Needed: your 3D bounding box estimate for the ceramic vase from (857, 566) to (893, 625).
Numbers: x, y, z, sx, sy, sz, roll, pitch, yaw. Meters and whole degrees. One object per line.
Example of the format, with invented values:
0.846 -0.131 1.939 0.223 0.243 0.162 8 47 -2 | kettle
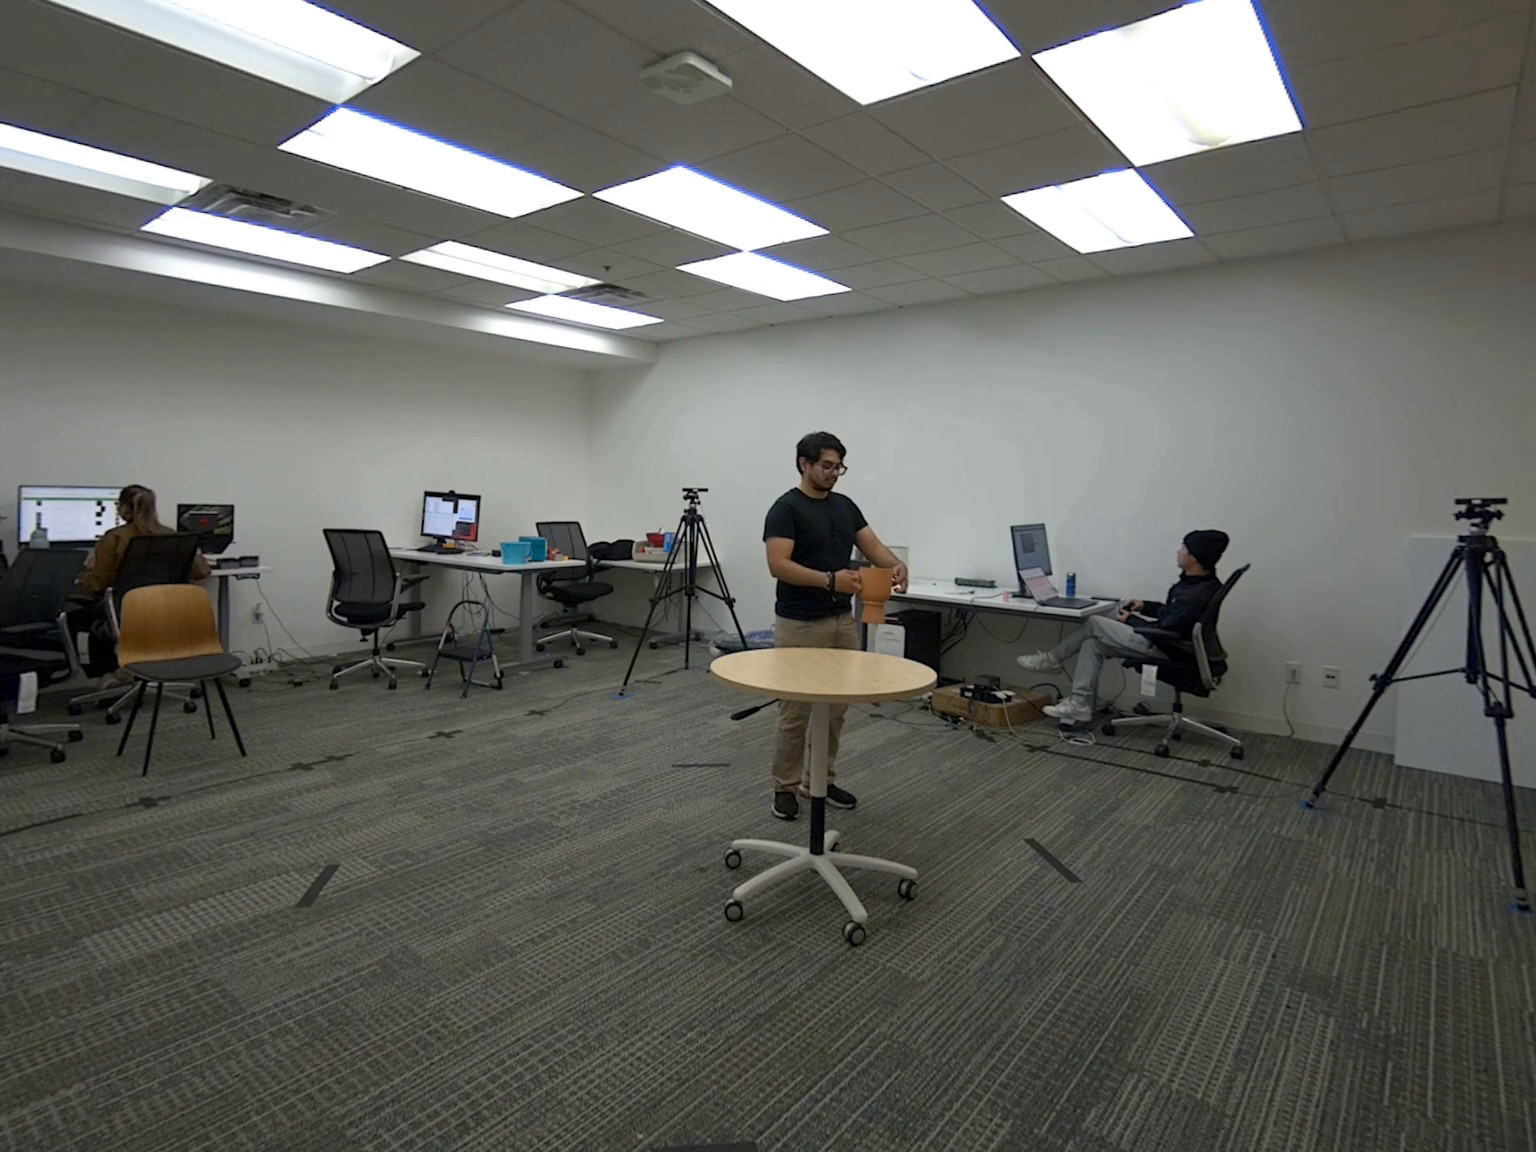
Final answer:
0.428 0.072 3.458 0.155 0.219 0.138 0 4 -28 | ceramic vase
